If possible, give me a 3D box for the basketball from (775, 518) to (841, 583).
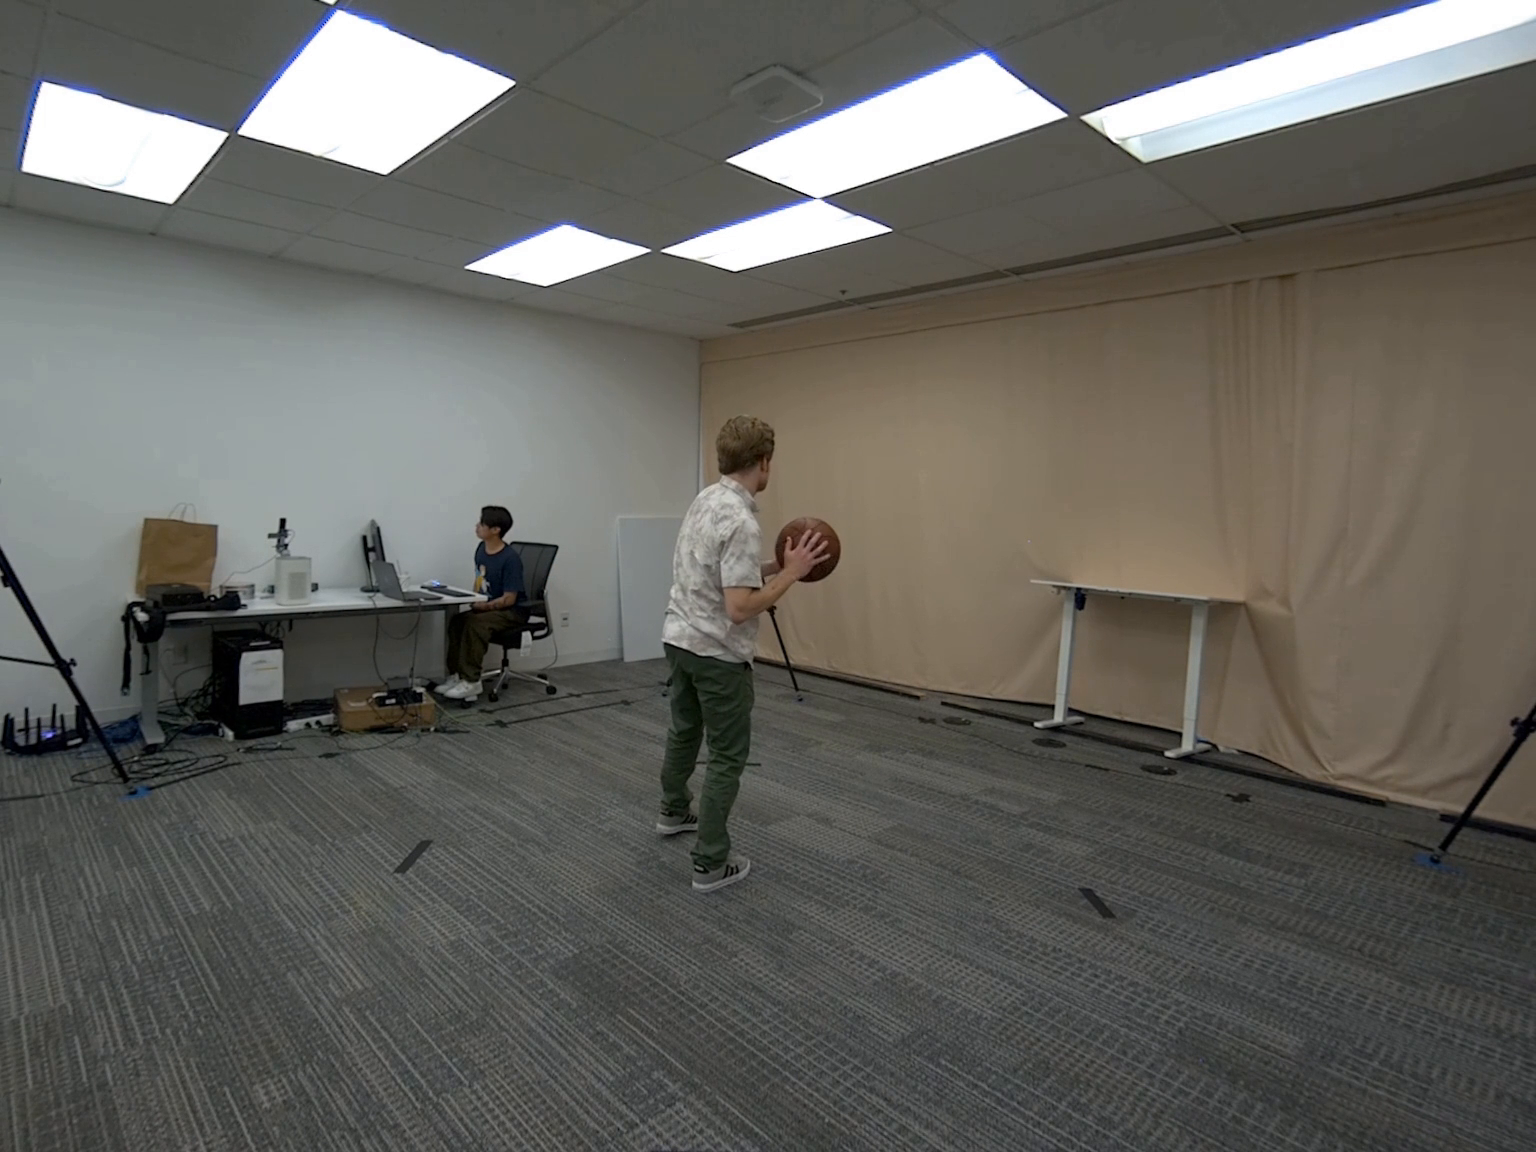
[{"bbox_3d":[0.139,-0.091,3.069,0.236,0.235,0.237,1,4,-1],"label":"basketball"}]
